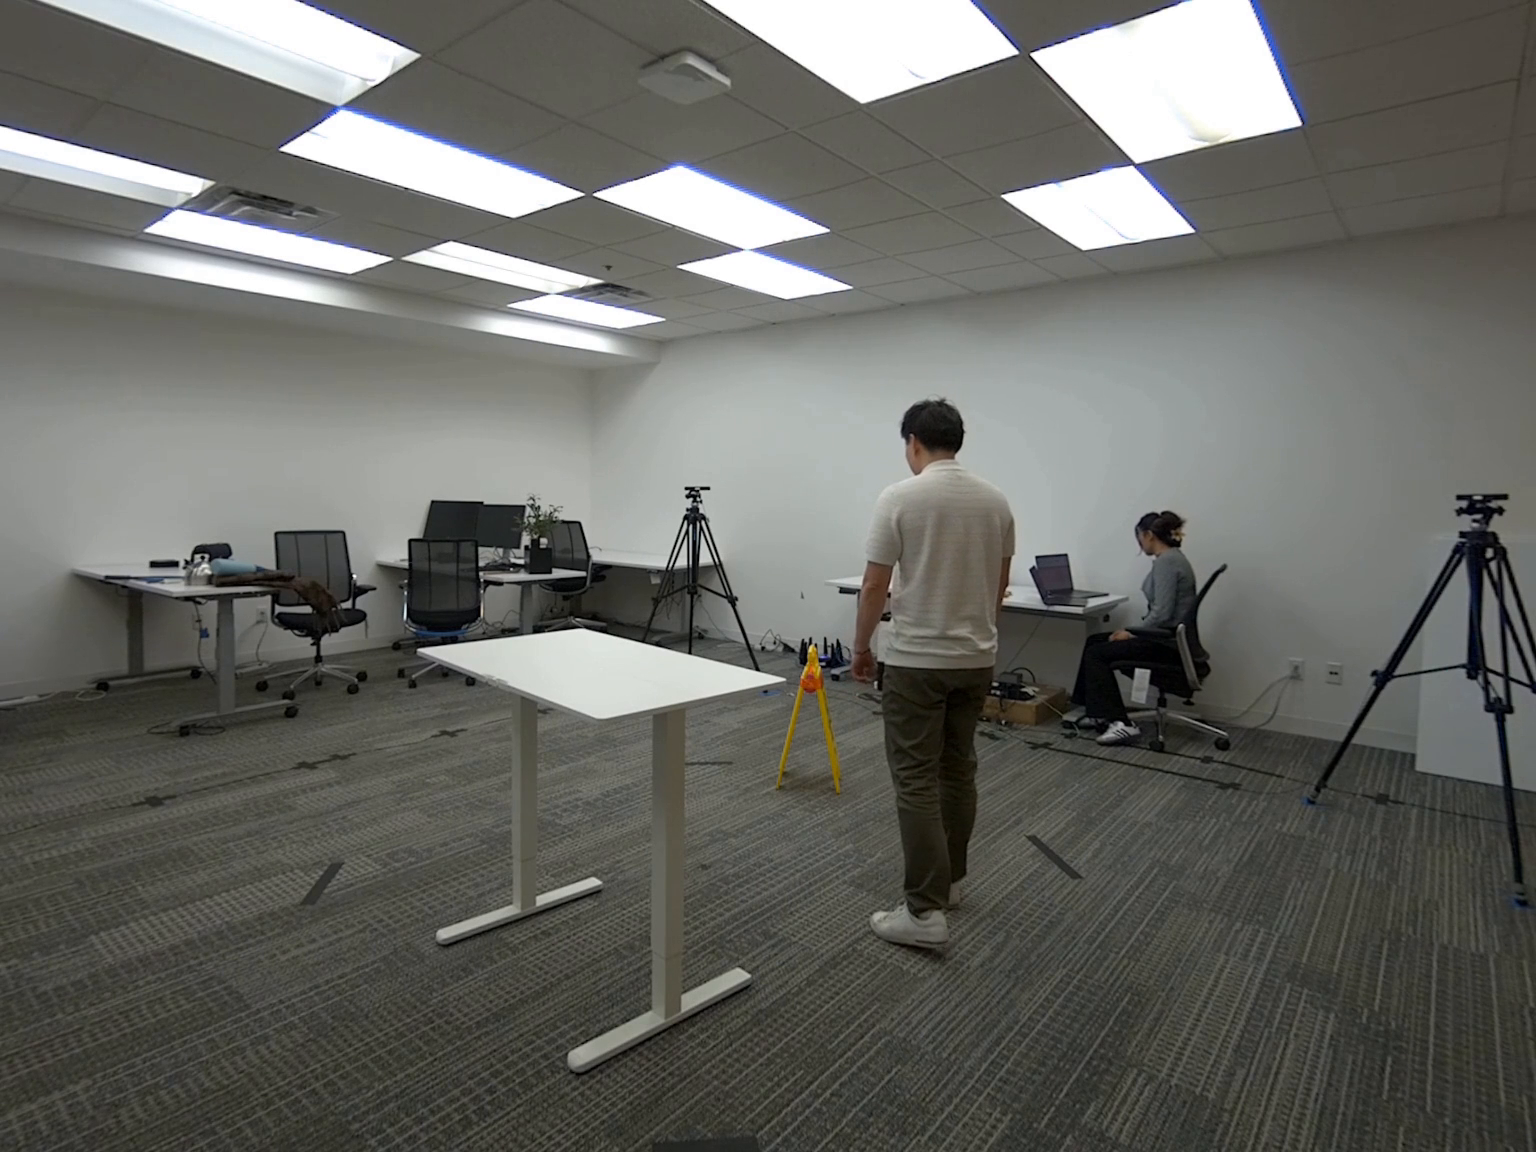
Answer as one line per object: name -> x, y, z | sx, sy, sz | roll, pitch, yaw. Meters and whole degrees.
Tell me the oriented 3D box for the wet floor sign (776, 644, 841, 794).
wet floor sign -> 0.199, 0.650, 4.046 | 0.292, 0.643, 0.281 | 1, 5, 7
